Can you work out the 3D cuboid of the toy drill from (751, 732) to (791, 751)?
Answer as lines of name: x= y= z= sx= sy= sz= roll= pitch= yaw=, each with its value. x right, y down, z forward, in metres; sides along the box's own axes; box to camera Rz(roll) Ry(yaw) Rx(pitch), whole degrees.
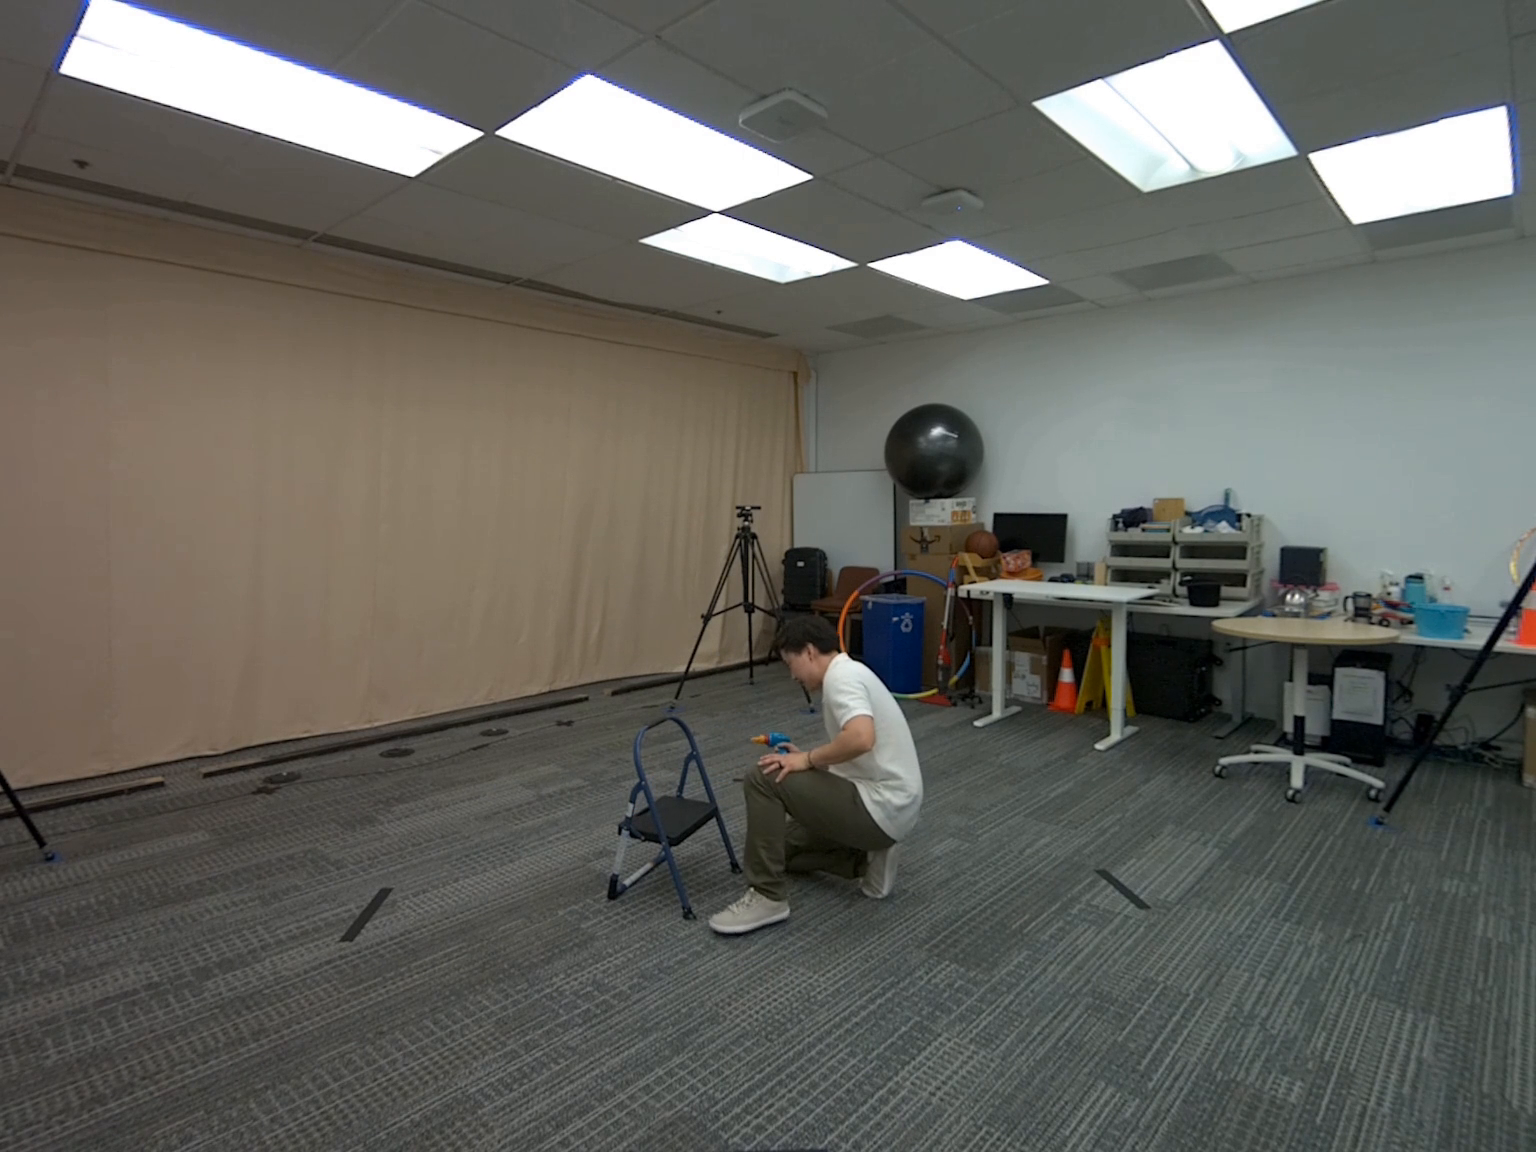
toy drill: x=0.010 y=0.689 z=3.364 sx=0.167 sy=0.060 sz=0.149 roll=3 pitch=43 yaw=-14
